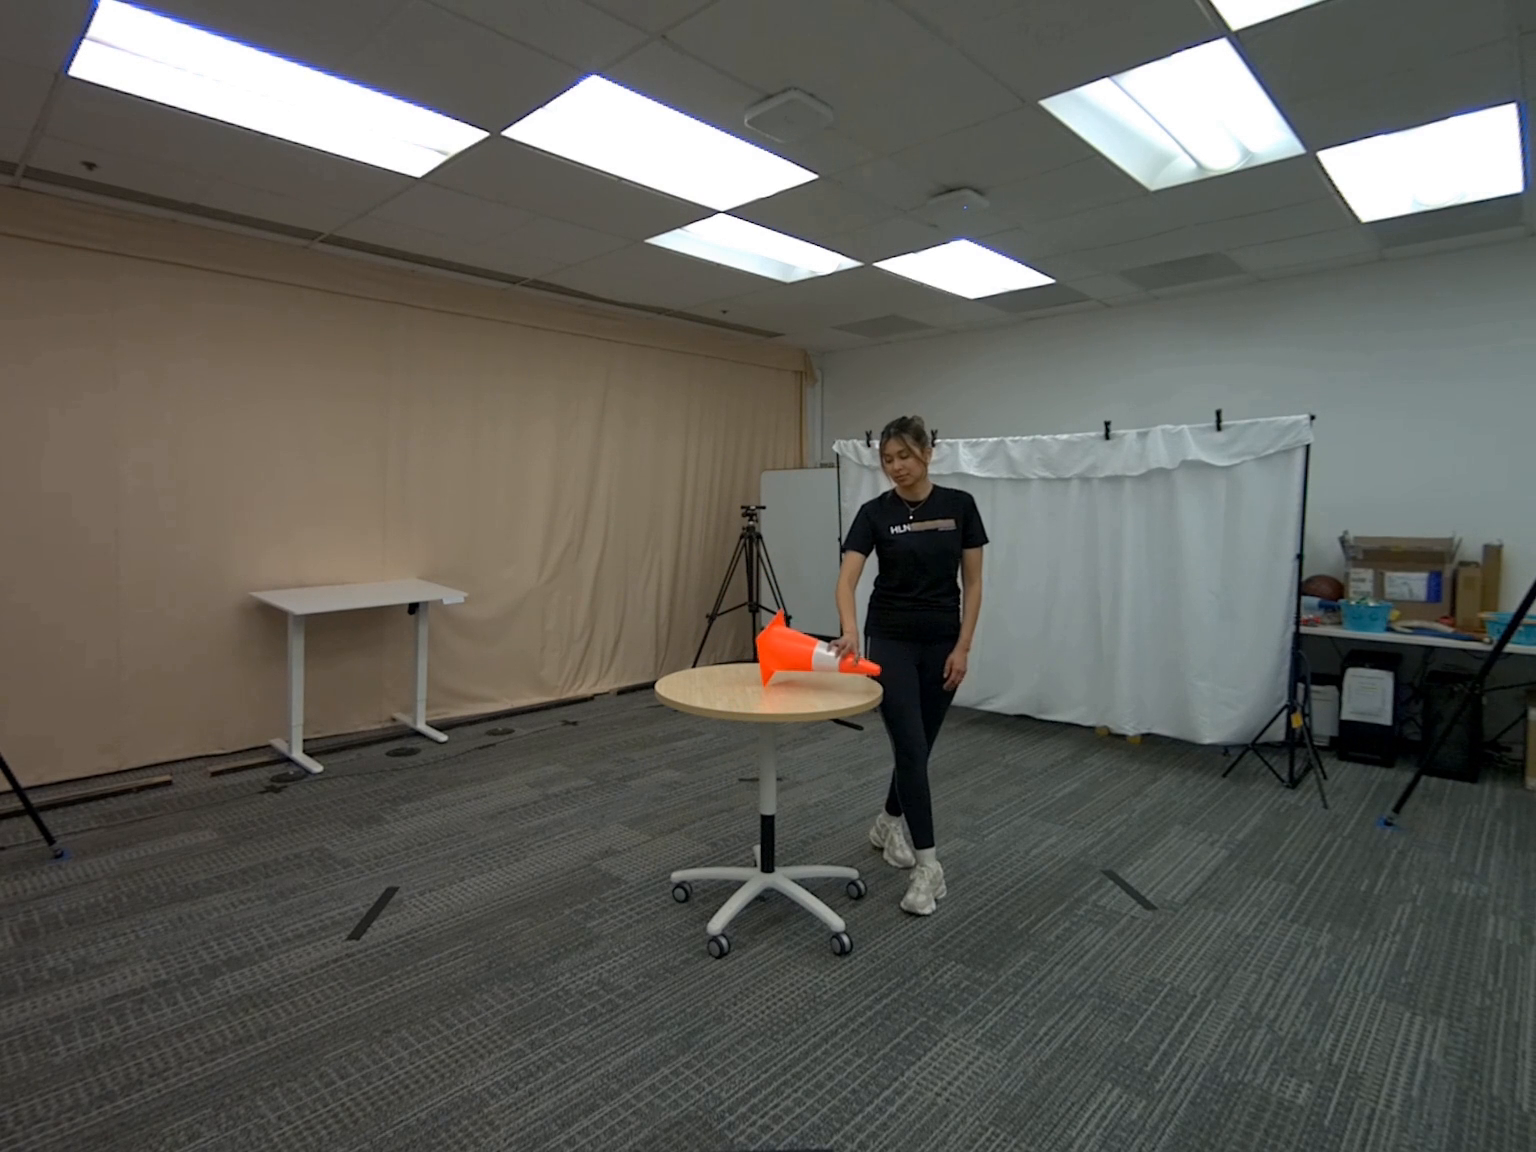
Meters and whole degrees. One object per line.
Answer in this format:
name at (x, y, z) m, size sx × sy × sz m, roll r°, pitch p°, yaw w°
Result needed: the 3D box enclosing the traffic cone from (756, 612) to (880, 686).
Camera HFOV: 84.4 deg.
traffic cone at (0.185, 0.271, 2.770) m, size 0.395 × 0.199 × 0.203 m, roll 9°, pitch 32°, yaw 28°
